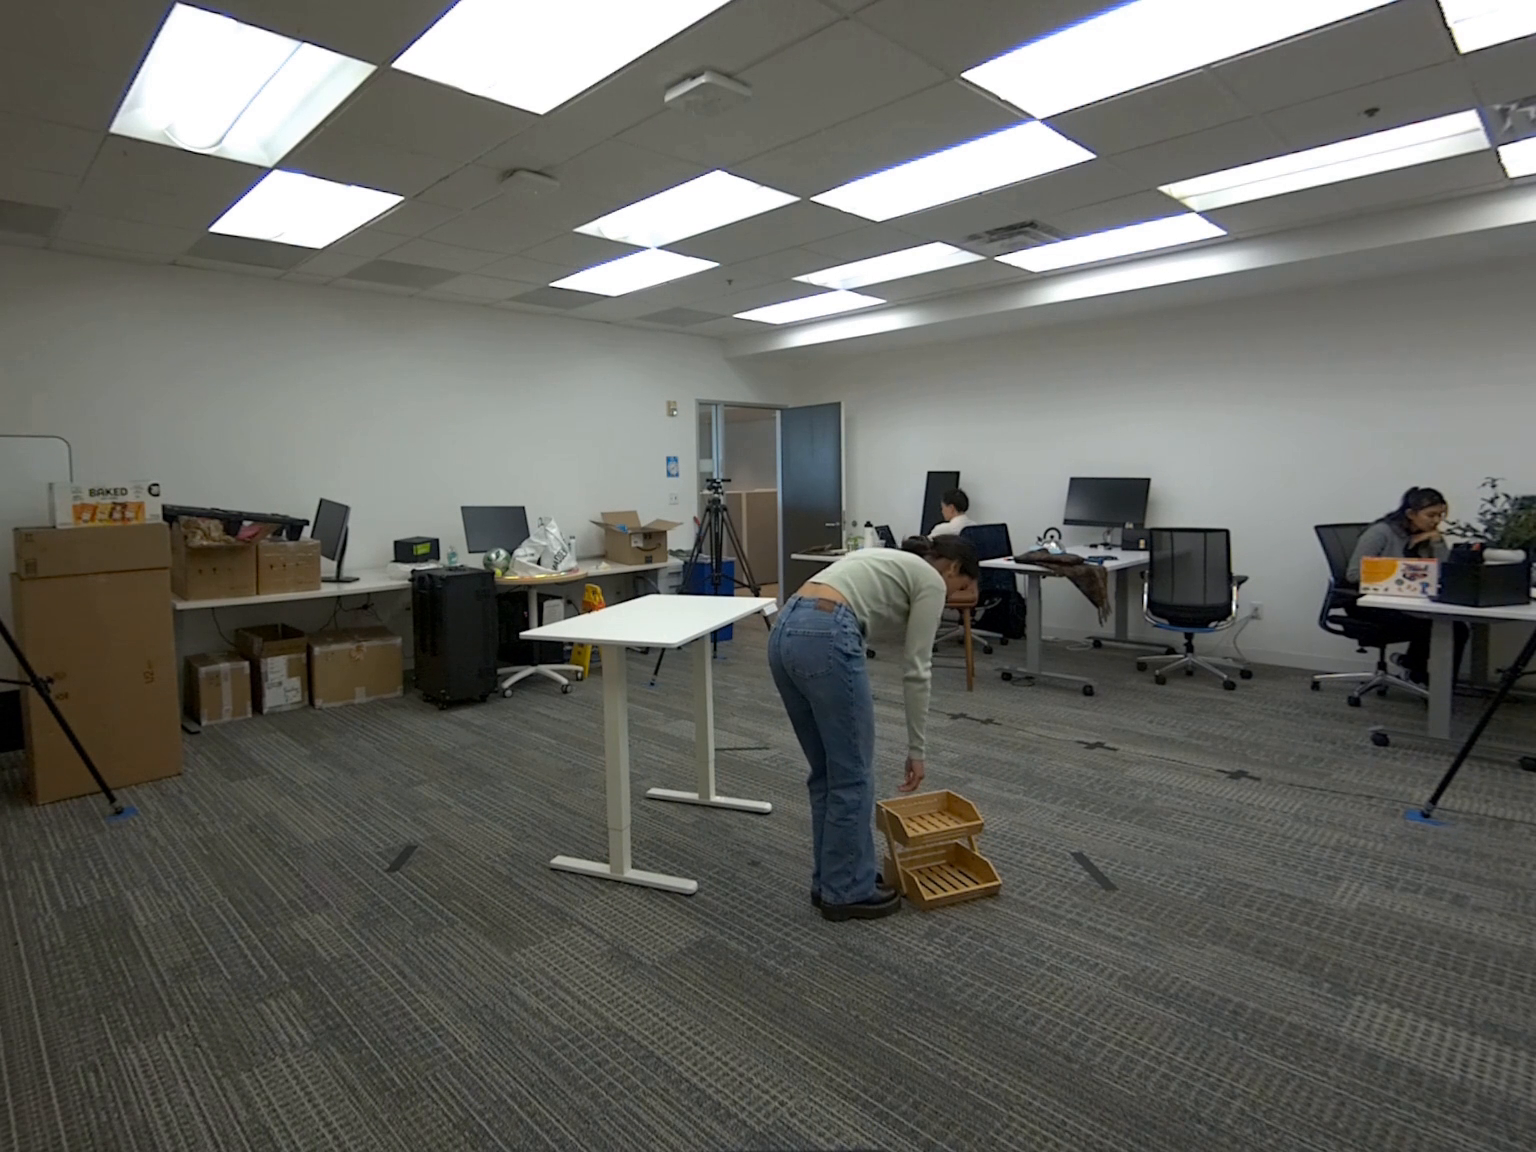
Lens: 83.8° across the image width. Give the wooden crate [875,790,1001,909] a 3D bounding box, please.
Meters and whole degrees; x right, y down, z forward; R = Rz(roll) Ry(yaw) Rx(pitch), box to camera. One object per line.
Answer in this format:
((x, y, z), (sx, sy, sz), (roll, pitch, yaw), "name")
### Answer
((0.586, 0.923, 2.903), (0.318, 0.272, 0.309), (-3, 6, -22), "wooden crate")
